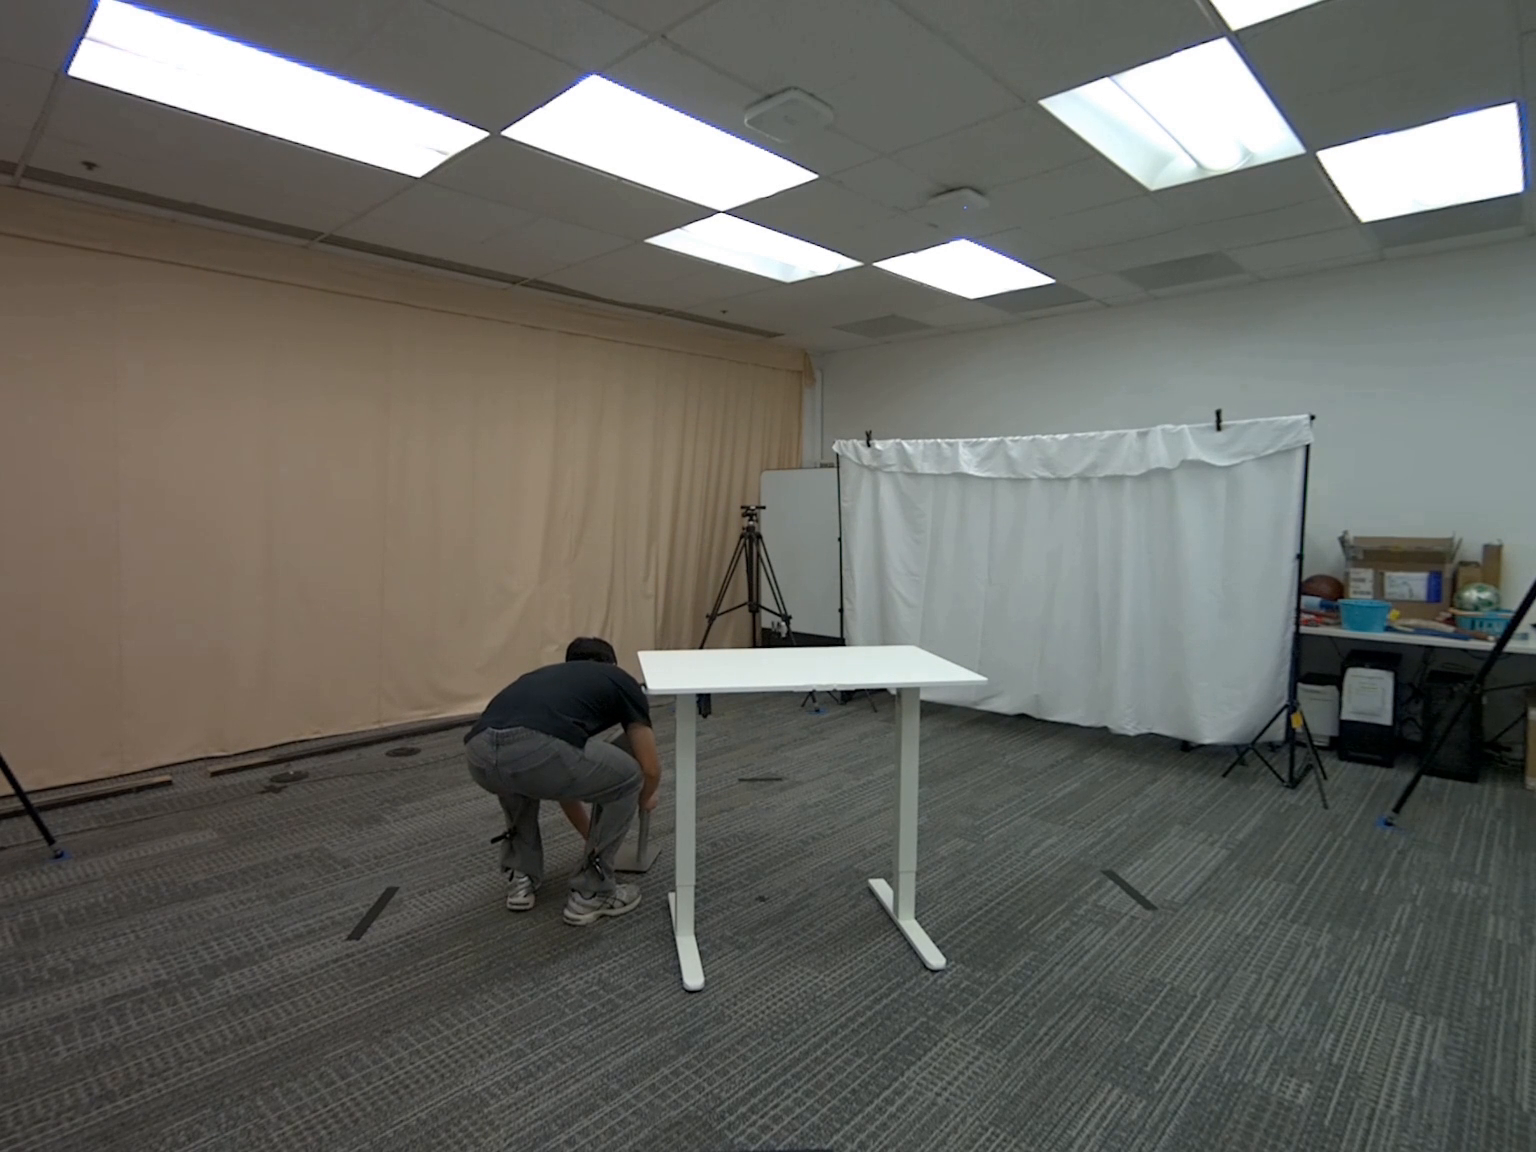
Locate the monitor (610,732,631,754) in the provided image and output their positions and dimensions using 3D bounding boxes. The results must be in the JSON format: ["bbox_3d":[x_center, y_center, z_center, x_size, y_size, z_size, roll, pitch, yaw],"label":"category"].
[{"bbox_3d":[-0.557,0.864,3.311,0.225,0.565,0.555,-3,1,11],"label":"monitor"}]
